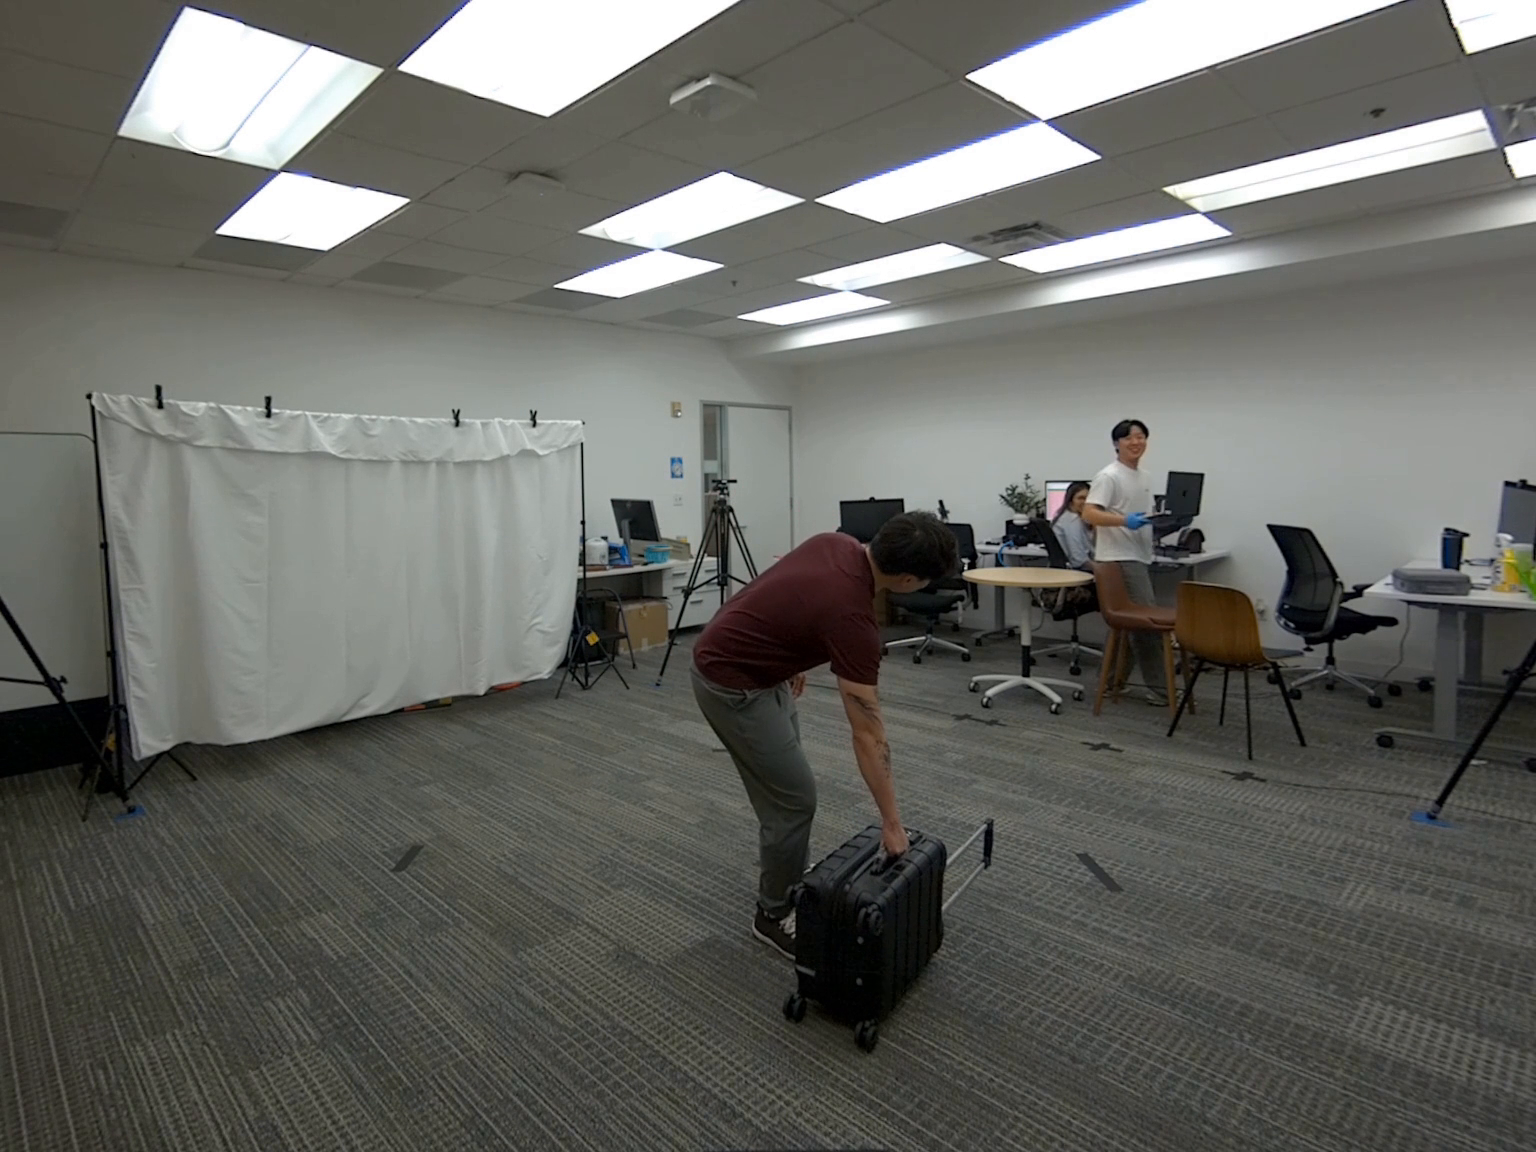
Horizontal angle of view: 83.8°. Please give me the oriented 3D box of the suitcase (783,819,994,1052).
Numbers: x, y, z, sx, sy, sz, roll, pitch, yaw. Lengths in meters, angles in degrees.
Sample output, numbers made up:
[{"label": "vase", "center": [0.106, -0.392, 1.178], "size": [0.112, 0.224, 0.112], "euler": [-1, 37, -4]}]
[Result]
[{"label": "suitcase", "center": [0.400, 0.917, 2.521], "size": [0.264, 0.382, 0.957], "euler": [3, 7, 30]}]
